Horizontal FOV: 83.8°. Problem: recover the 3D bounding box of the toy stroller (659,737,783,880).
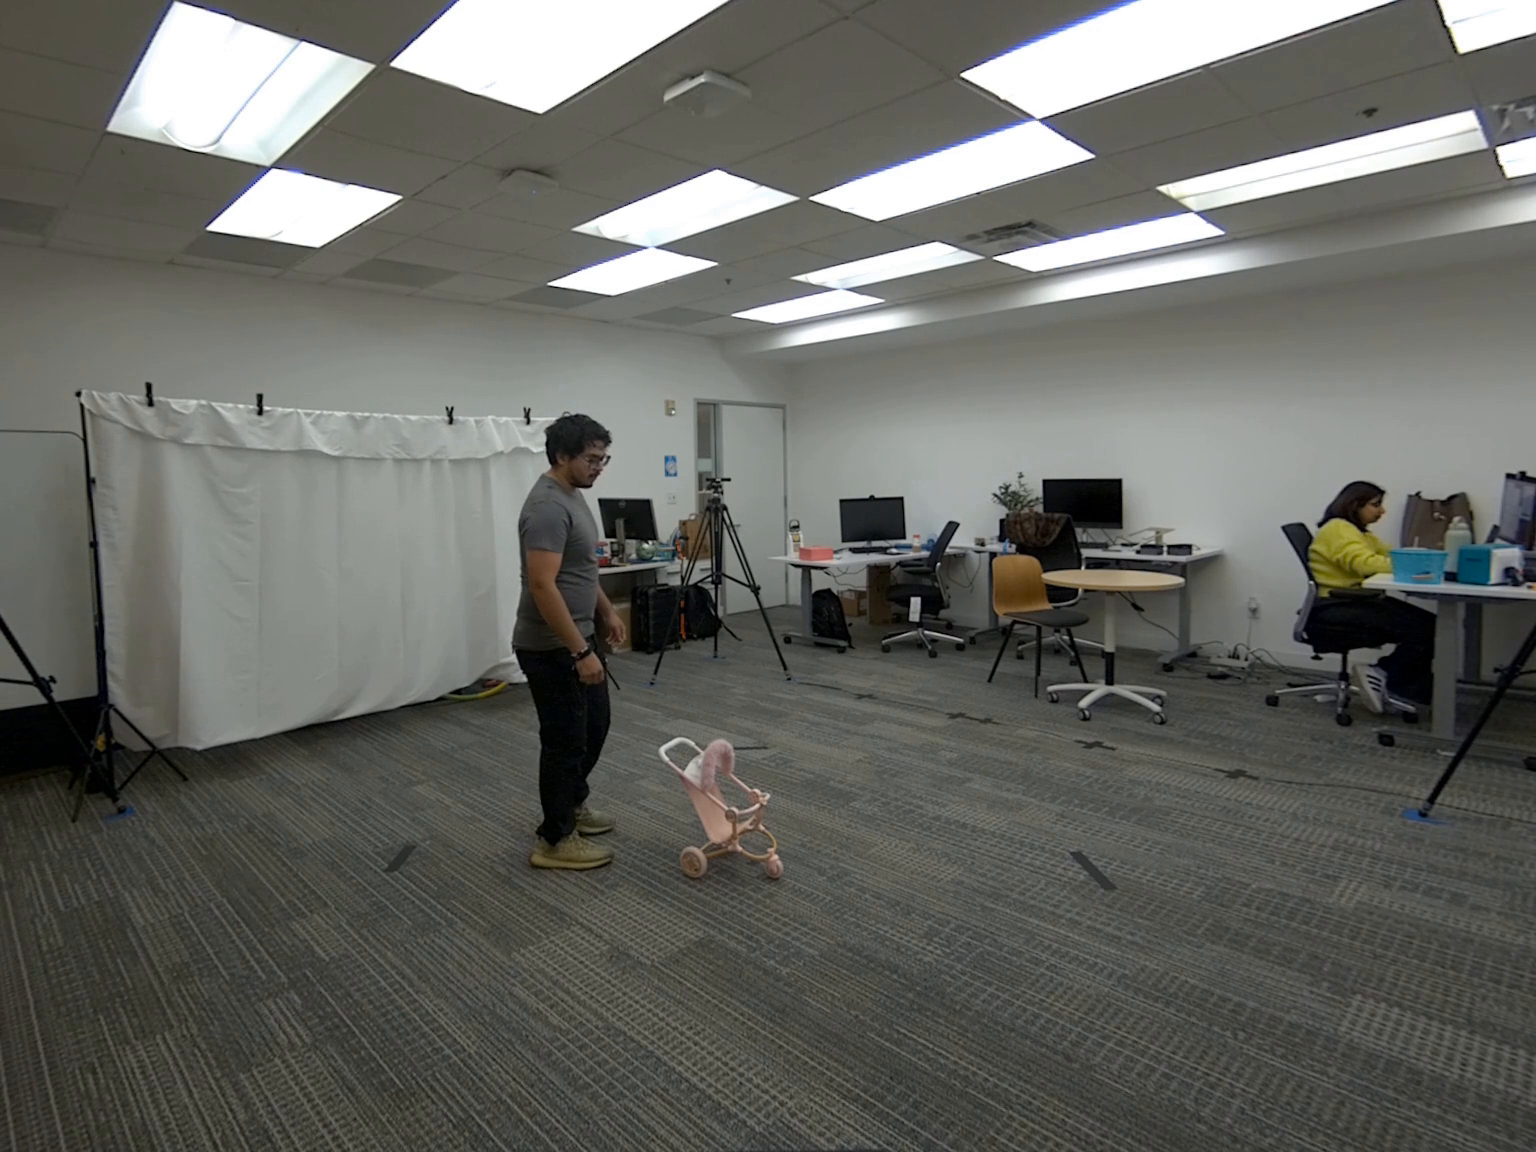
[{"bbox_3d":[-0.155,0.823,3.060,0.347,0.538,0.275,-18,-5,31],"label":"toy stroller"}]
